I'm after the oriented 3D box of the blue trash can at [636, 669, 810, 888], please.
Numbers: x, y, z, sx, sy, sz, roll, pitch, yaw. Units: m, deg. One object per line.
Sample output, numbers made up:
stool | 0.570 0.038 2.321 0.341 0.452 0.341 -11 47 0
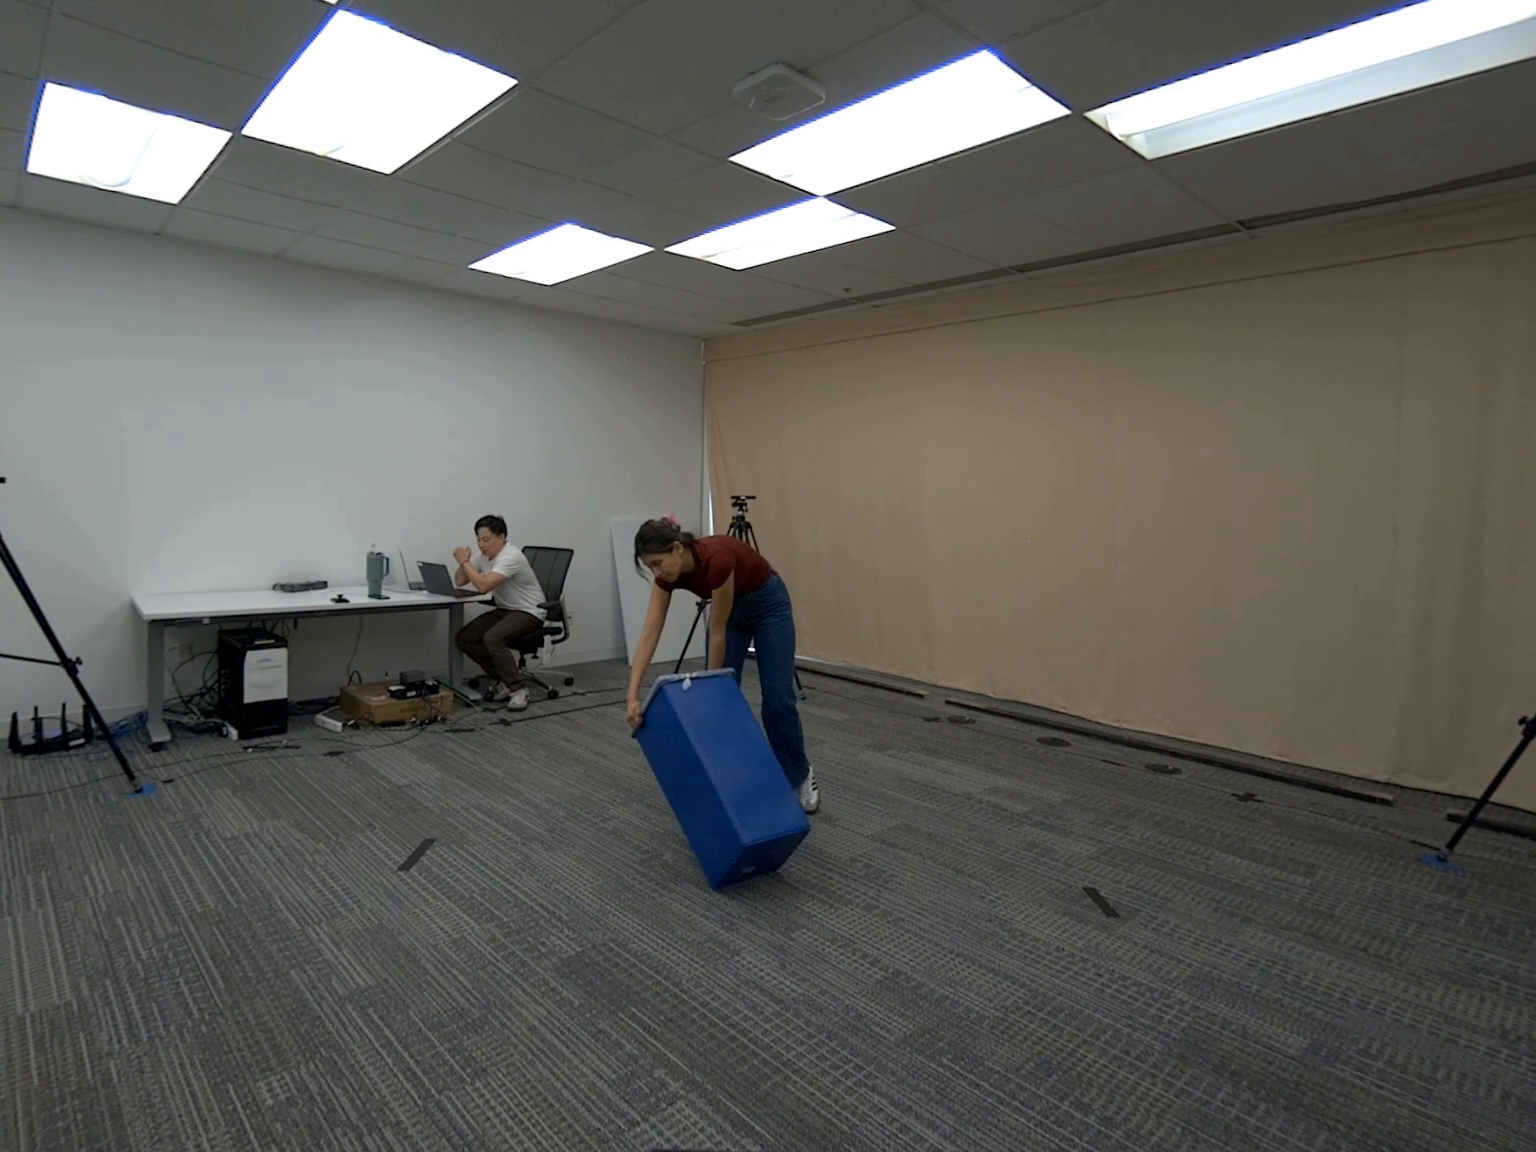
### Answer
blue trash can | -0.200 0.757 3.188 0.369 0.371 0.735 0 44 -37
